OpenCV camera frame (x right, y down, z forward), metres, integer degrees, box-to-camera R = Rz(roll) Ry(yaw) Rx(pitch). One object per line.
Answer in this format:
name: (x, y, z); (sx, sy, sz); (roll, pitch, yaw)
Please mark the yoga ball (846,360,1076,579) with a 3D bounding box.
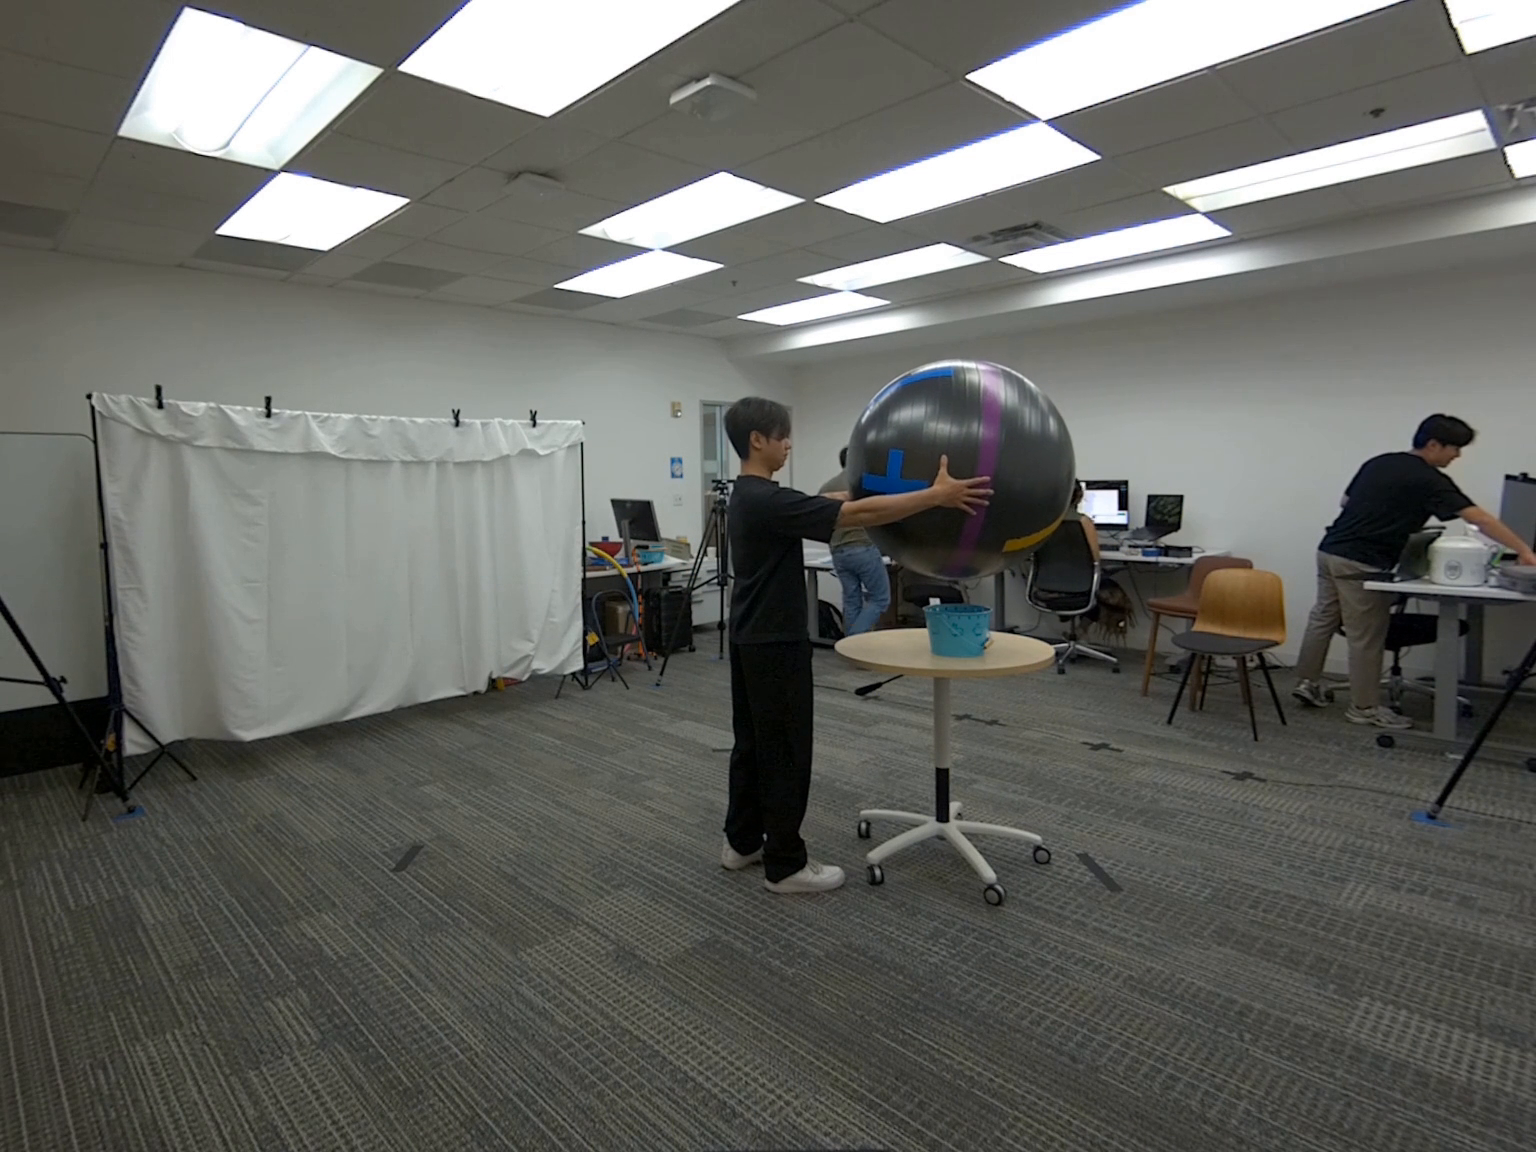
yoga ball: (0.665, -0.361, 2.967); (0.757, 0.755, 0.762); (-1, 5, -2)
